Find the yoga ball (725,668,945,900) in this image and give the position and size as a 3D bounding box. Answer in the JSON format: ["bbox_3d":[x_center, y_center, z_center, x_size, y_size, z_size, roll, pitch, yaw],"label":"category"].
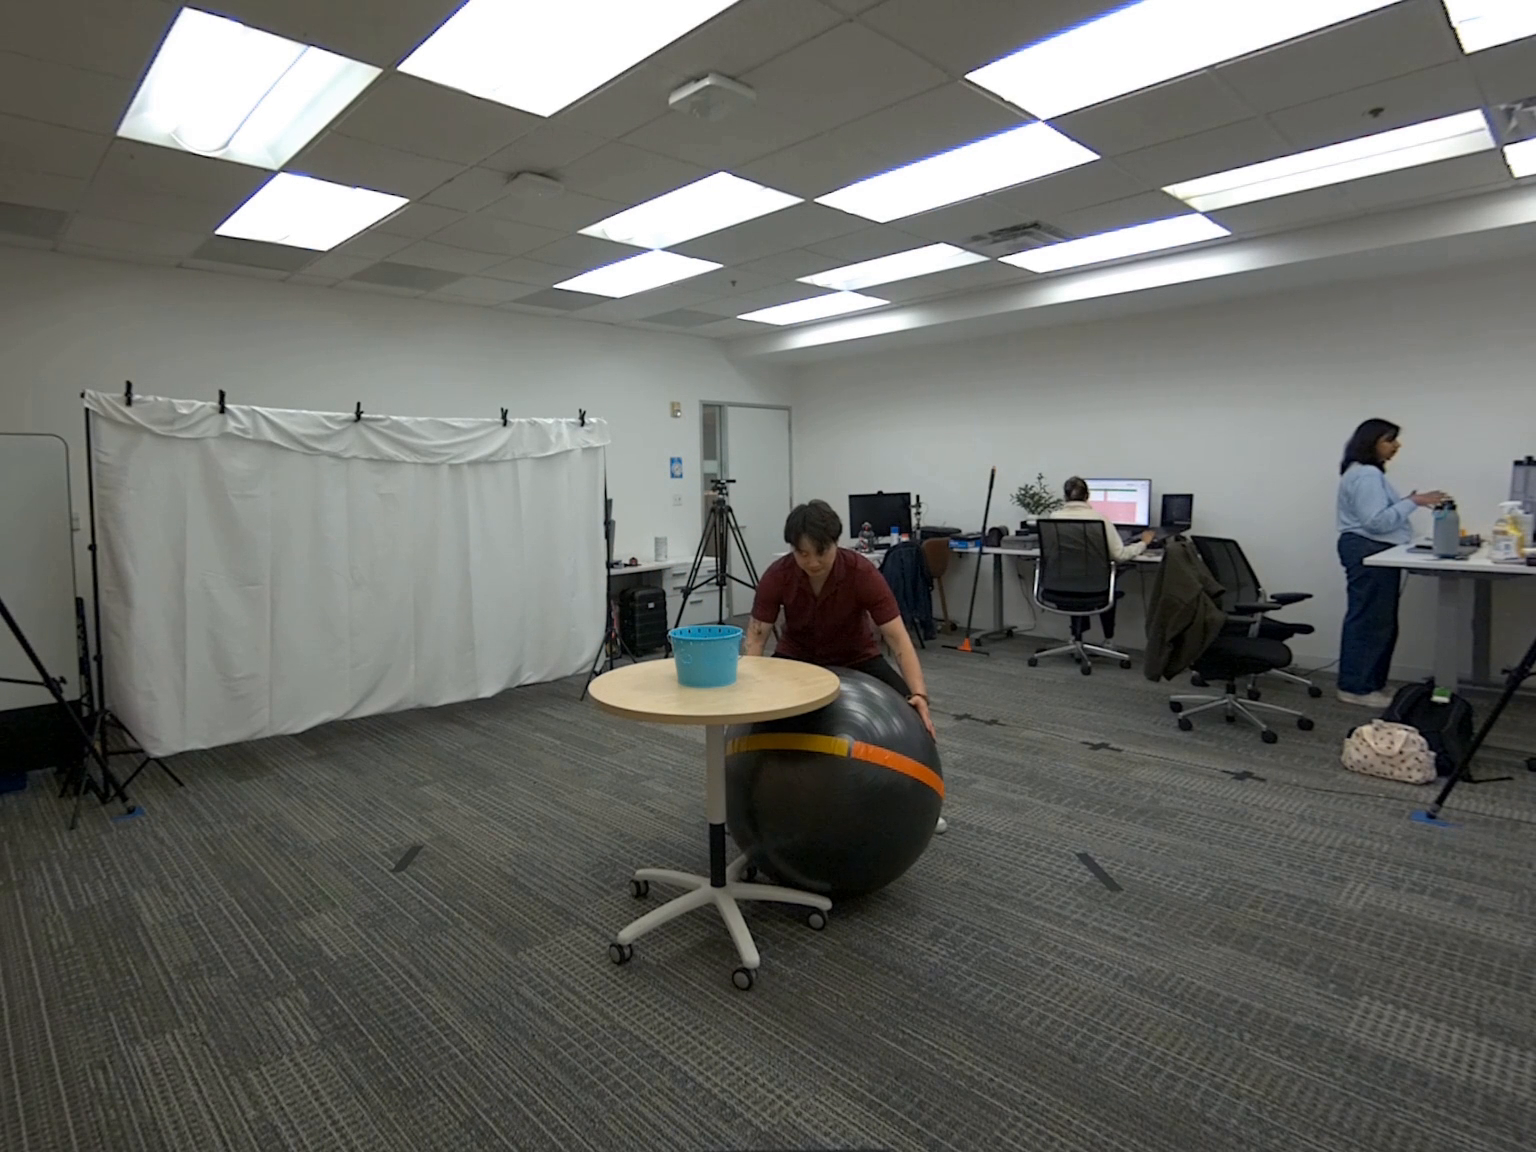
[{"bbox_3d":[0.209,0.701,2.919,0.757,0.755,0.762,-1,5,-2],"label":"yoga ball"}]
